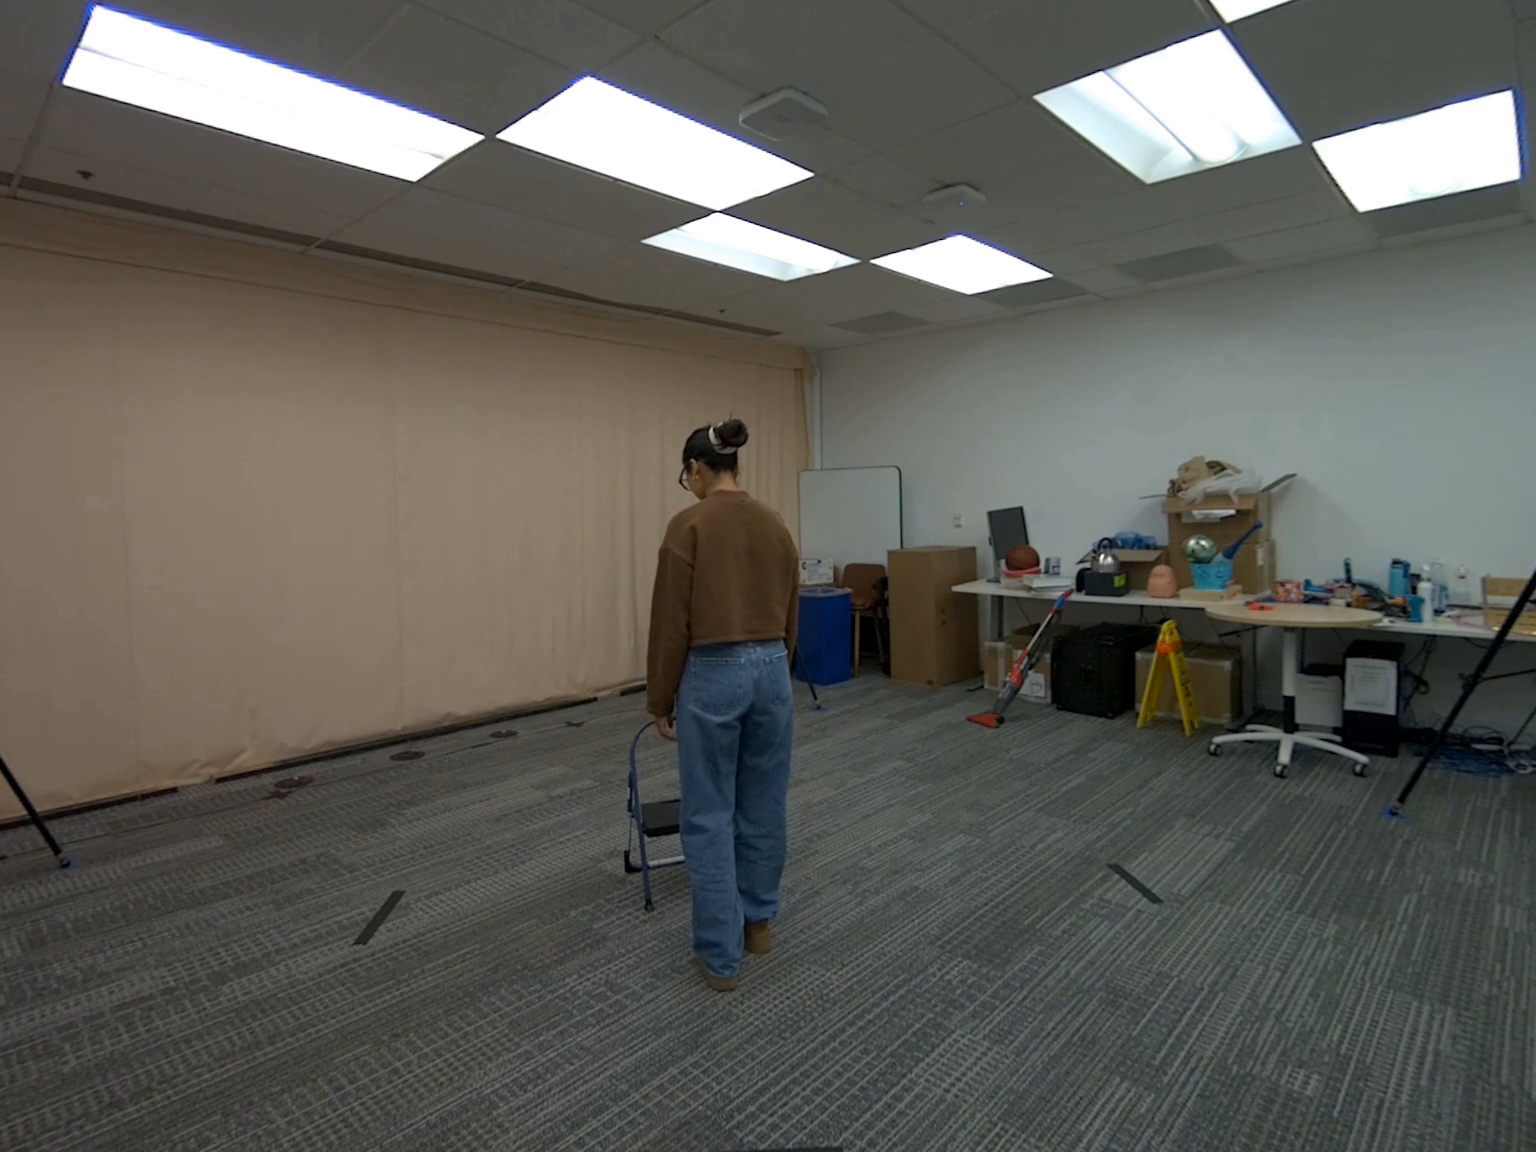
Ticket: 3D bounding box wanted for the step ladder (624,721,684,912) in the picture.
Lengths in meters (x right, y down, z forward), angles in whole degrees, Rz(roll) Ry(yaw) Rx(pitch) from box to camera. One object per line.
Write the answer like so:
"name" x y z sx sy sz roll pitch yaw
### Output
"step ladder" -0.298 0.830 3.110 0.421 0.604 0.358 -3 4 -22
